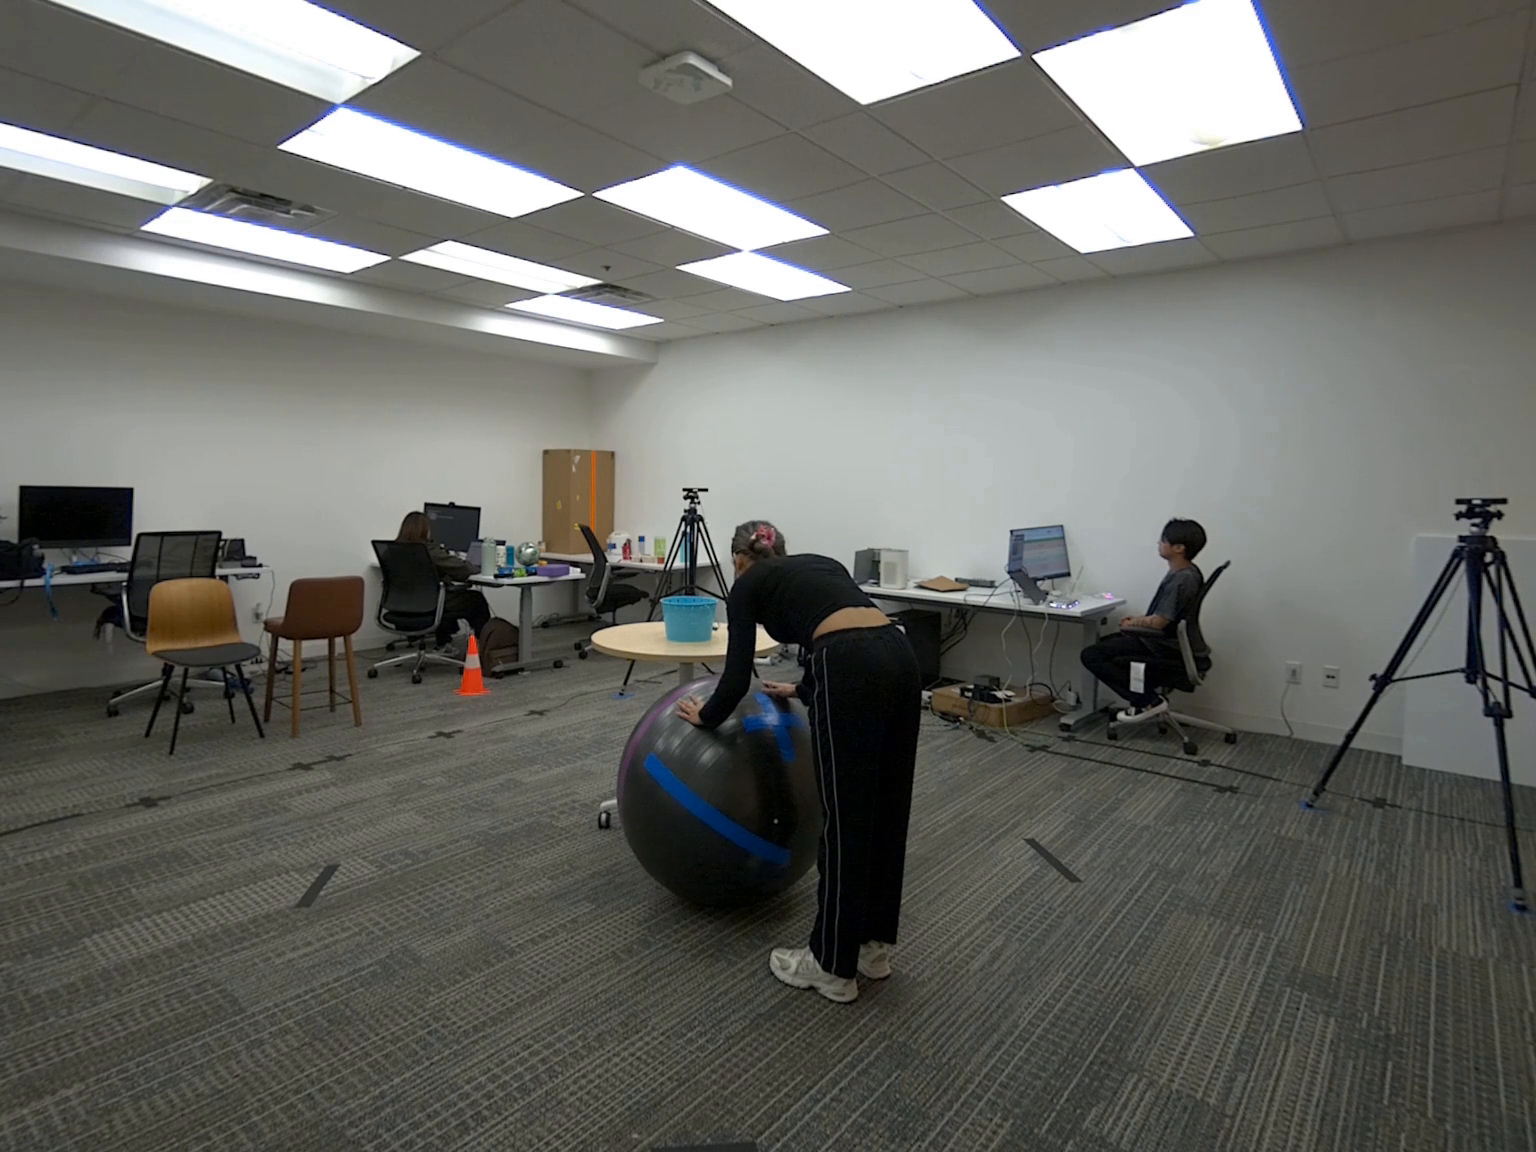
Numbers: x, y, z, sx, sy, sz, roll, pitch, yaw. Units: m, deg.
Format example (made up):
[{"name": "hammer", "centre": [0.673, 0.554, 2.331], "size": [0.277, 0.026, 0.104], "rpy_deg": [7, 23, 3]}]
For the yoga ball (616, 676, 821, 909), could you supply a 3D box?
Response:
[{"name": "yoga ball", "centre": [-0.143, 0.727, 2.901], "size": [0.757, 0.756, 0.762], "rpy_deg": [1, 4, -2]}]
